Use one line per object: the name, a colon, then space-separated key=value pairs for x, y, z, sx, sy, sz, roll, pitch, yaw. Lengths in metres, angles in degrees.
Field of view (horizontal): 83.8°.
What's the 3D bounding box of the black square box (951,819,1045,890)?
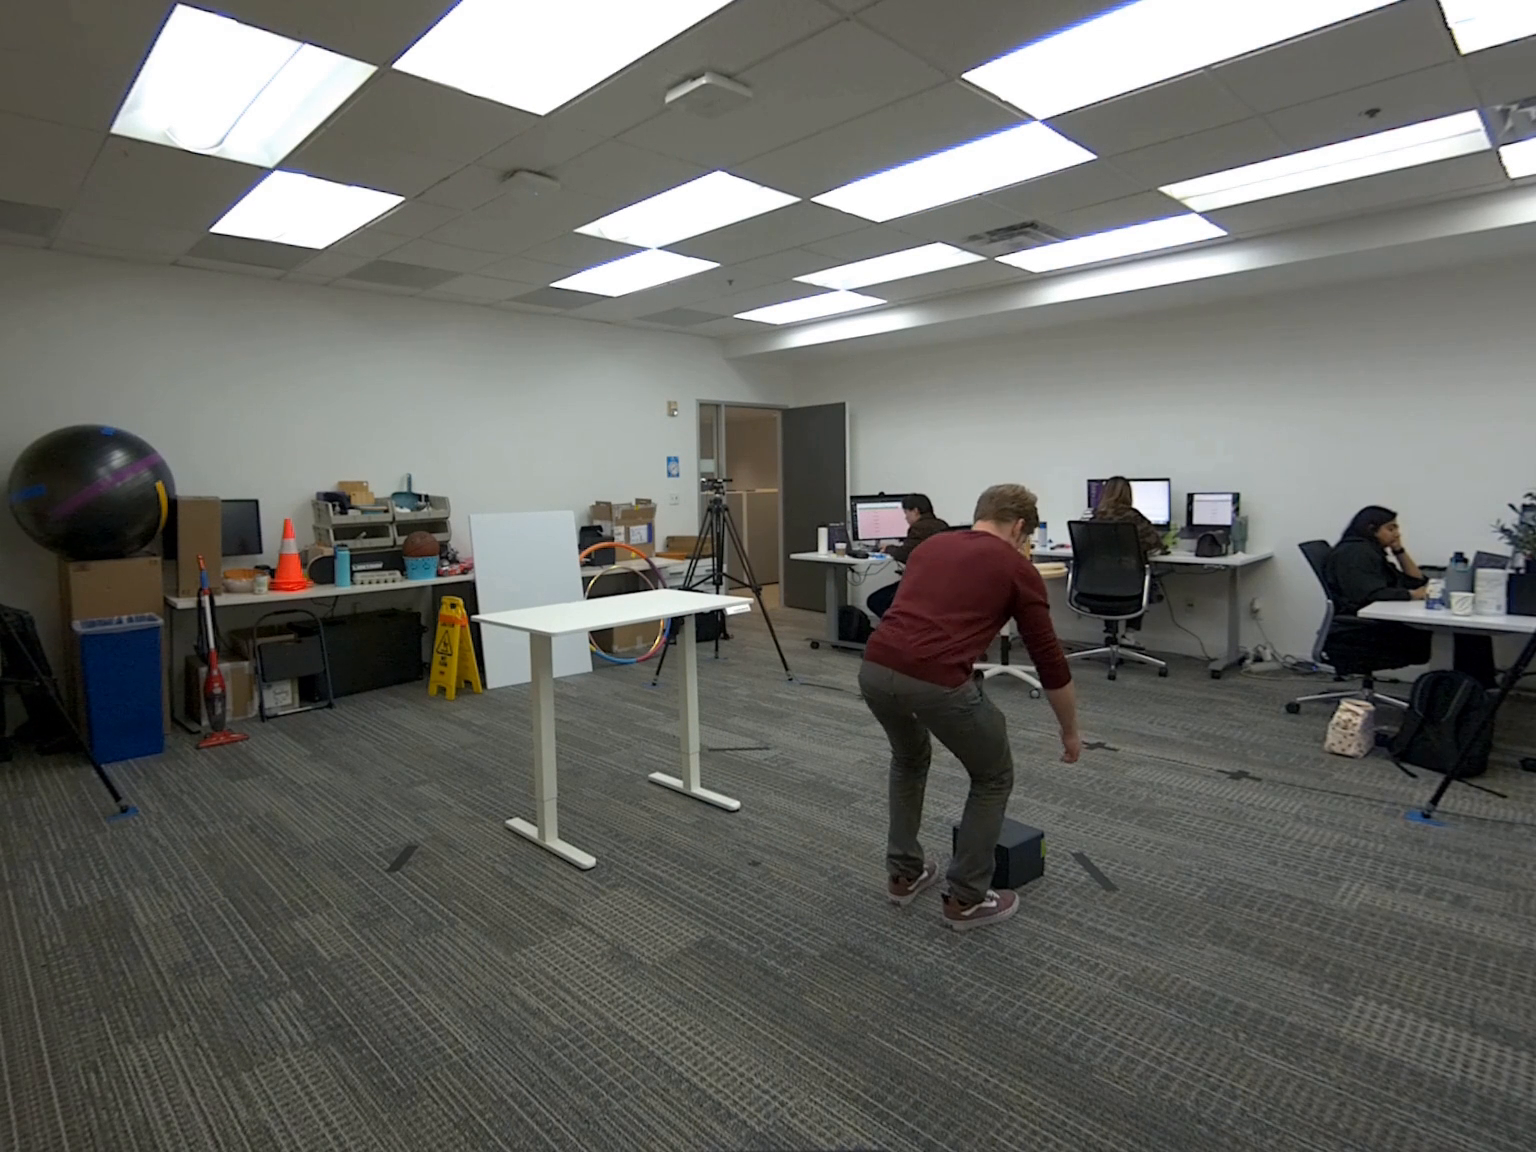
black square box: x=0.812 y=0.958 z=2.996 sx=0.211 sy=0.155 sz=0.235 roll=-4 pitch=6 yaw=-38
